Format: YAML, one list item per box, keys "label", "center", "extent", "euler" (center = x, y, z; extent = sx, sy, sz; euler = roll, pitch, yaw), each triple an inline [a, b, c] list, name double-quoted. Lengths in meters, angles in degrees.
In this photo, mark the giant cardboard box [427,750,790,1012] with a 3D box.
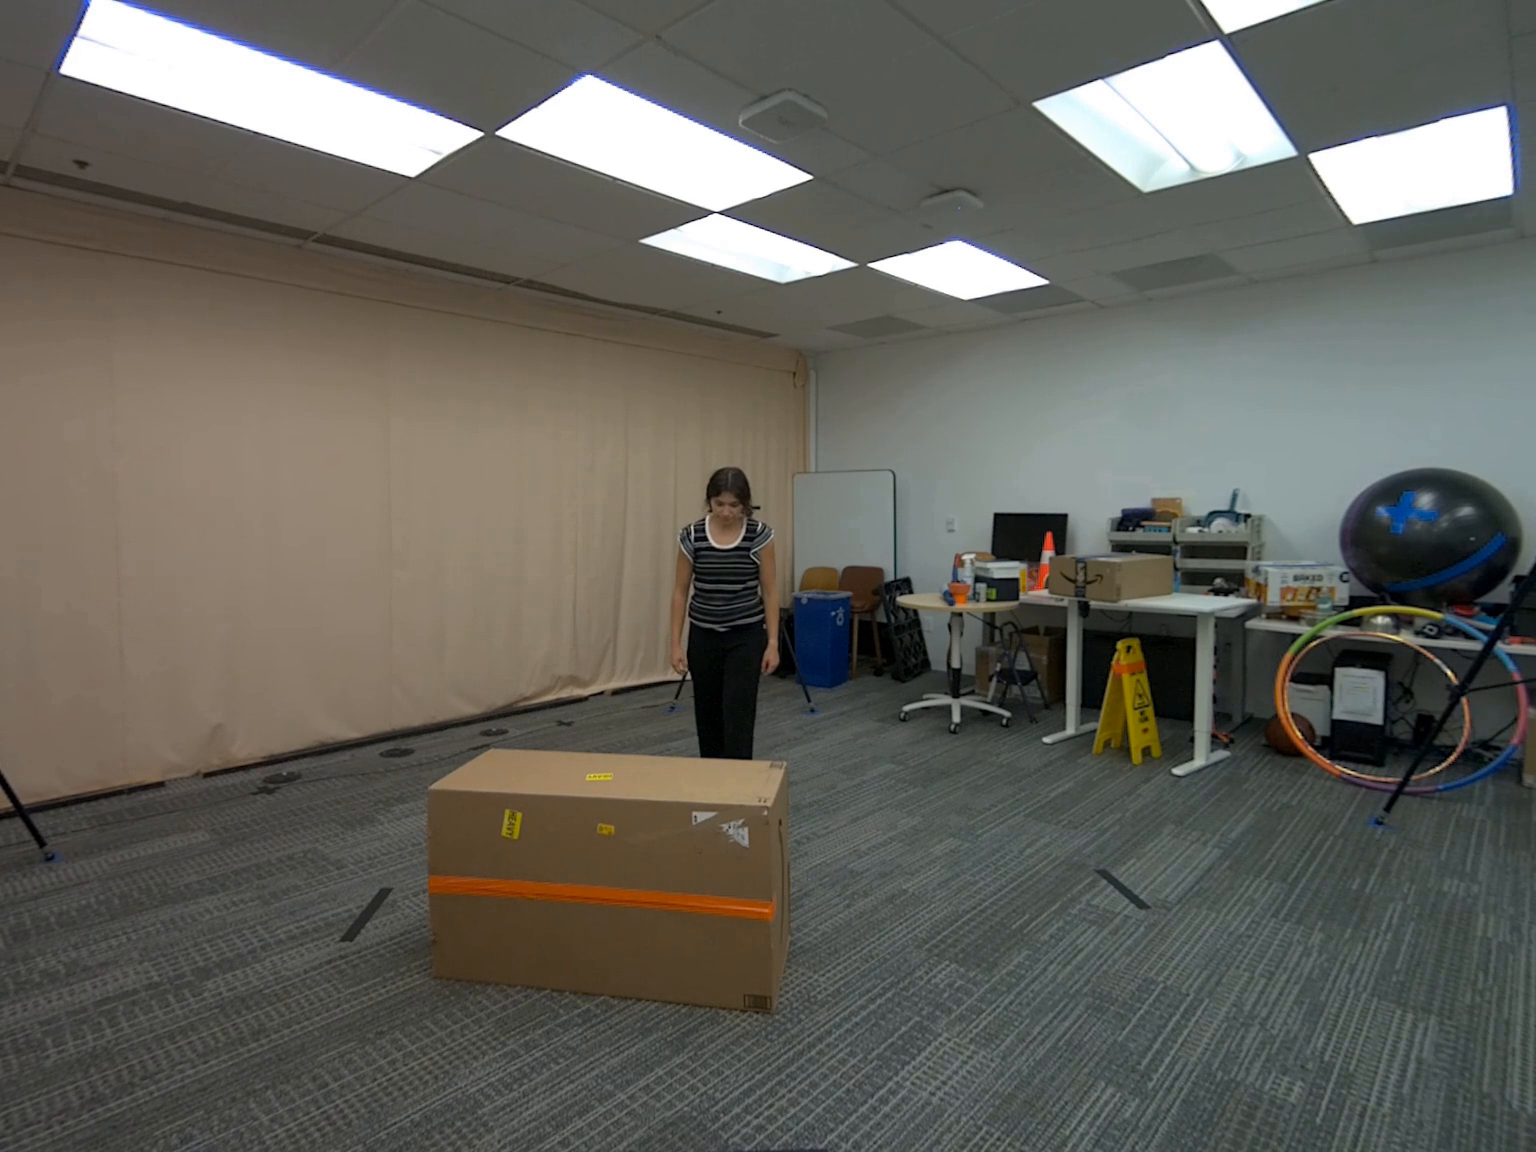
- label: "giant cardboard box"
  center: [-0.470, 0.892, 2.585]
  extent: [1.038, 0.576, 0.422]
  euler: [0, 3, 11]
